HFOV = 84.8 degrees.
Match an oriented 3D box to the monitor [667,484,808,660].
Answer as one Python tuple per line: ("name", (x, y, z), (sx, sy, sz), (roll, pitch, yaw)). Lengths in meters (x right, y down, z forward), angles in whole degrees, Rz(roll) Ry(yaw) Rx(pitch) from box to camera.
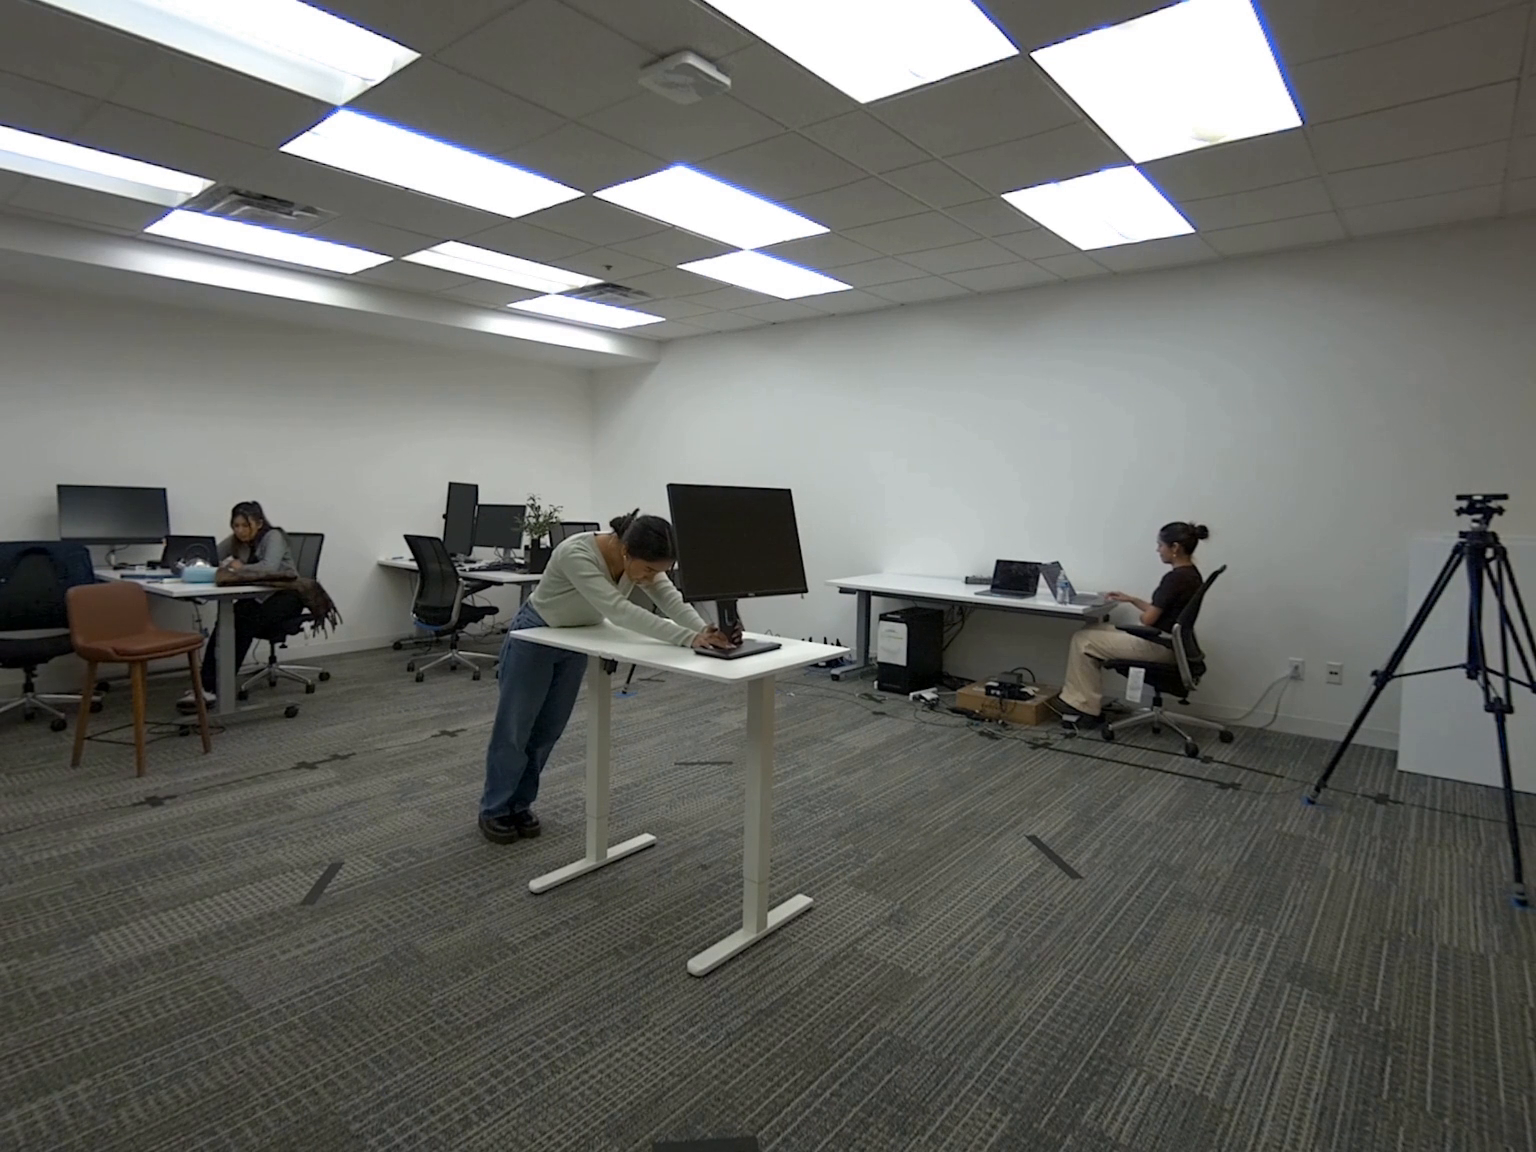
("monitor", (-0.111, -0.021, 2.656), (0.193, 0.522, 0.522), (1, 2, 43))
